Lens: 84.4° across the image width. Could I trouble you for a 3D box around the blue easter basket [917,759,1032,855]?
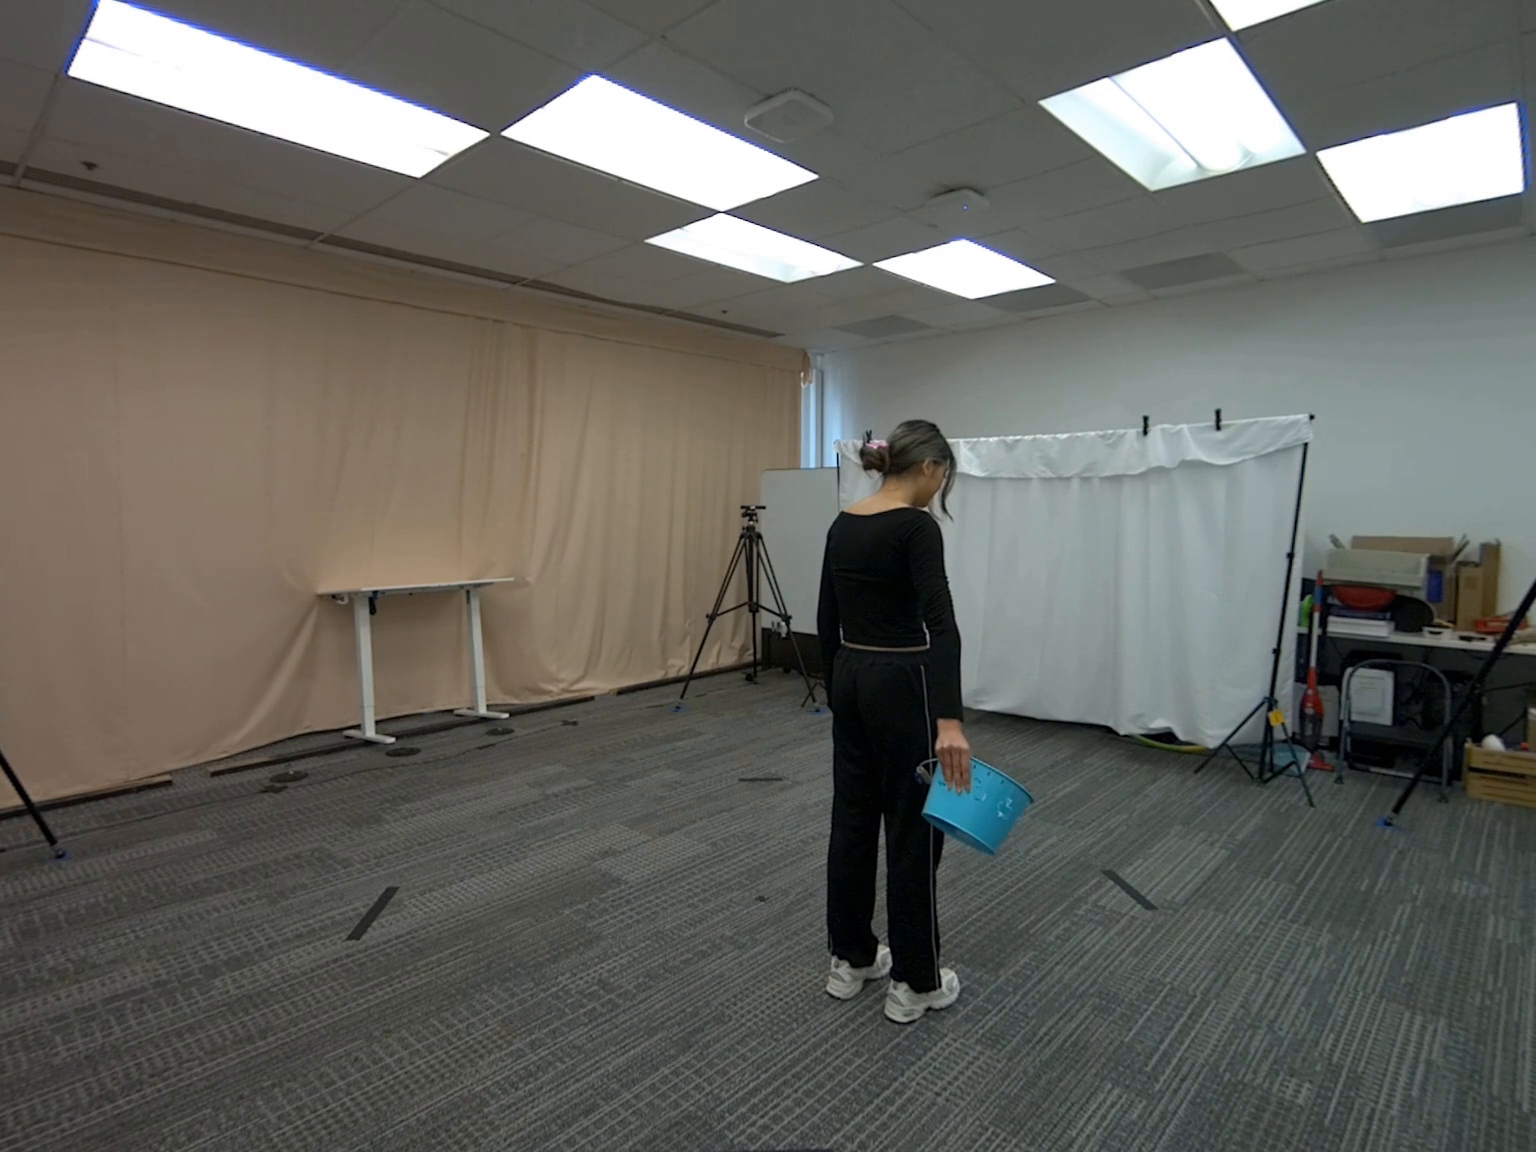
[{"bbox_3d":[0.484,0.536,1.978,0.246,0.155,0.241,32,-16,8],"label":"blue easter basket"}]
